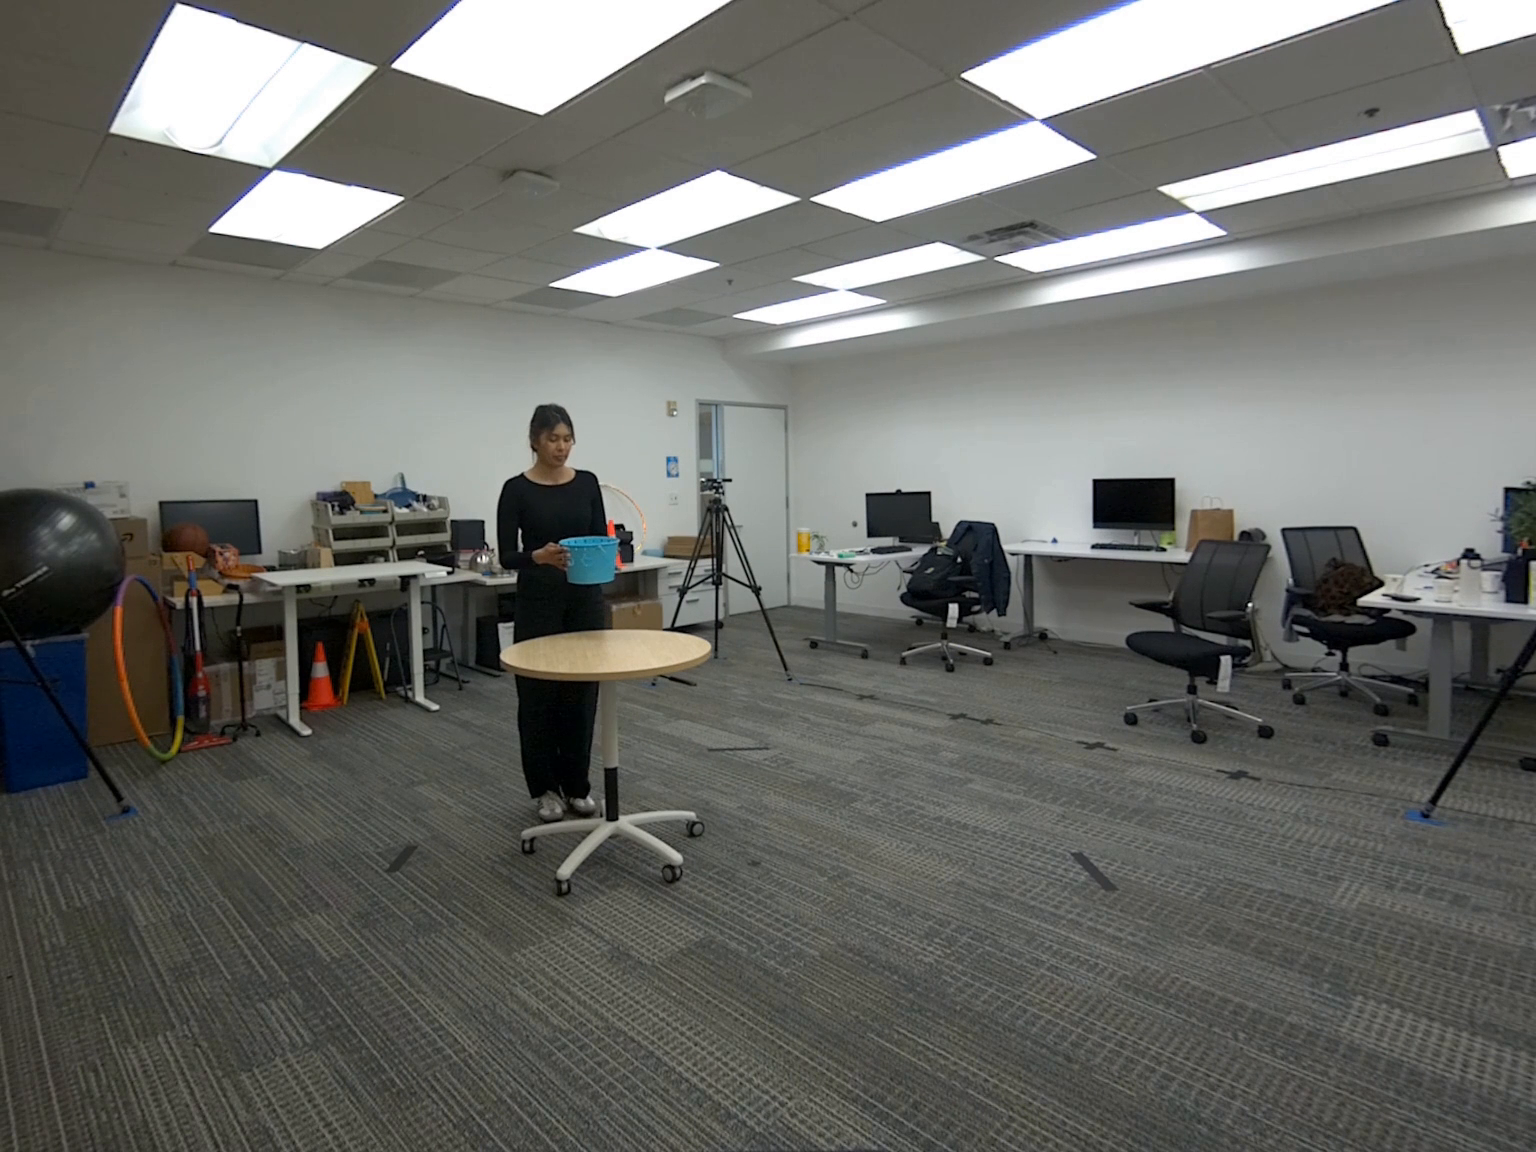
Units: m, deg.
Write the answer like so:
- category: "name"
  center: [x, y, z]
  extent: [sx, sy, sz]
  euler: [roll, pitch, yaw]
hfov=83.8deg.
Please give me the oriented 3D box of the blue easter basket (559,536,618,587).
- category: "blue easter basket"
  center: [-0.688, -0.056, 3.308]
  extent: [0.243, 0.155, 0.246]
  euler: [-1, 9, -1]
